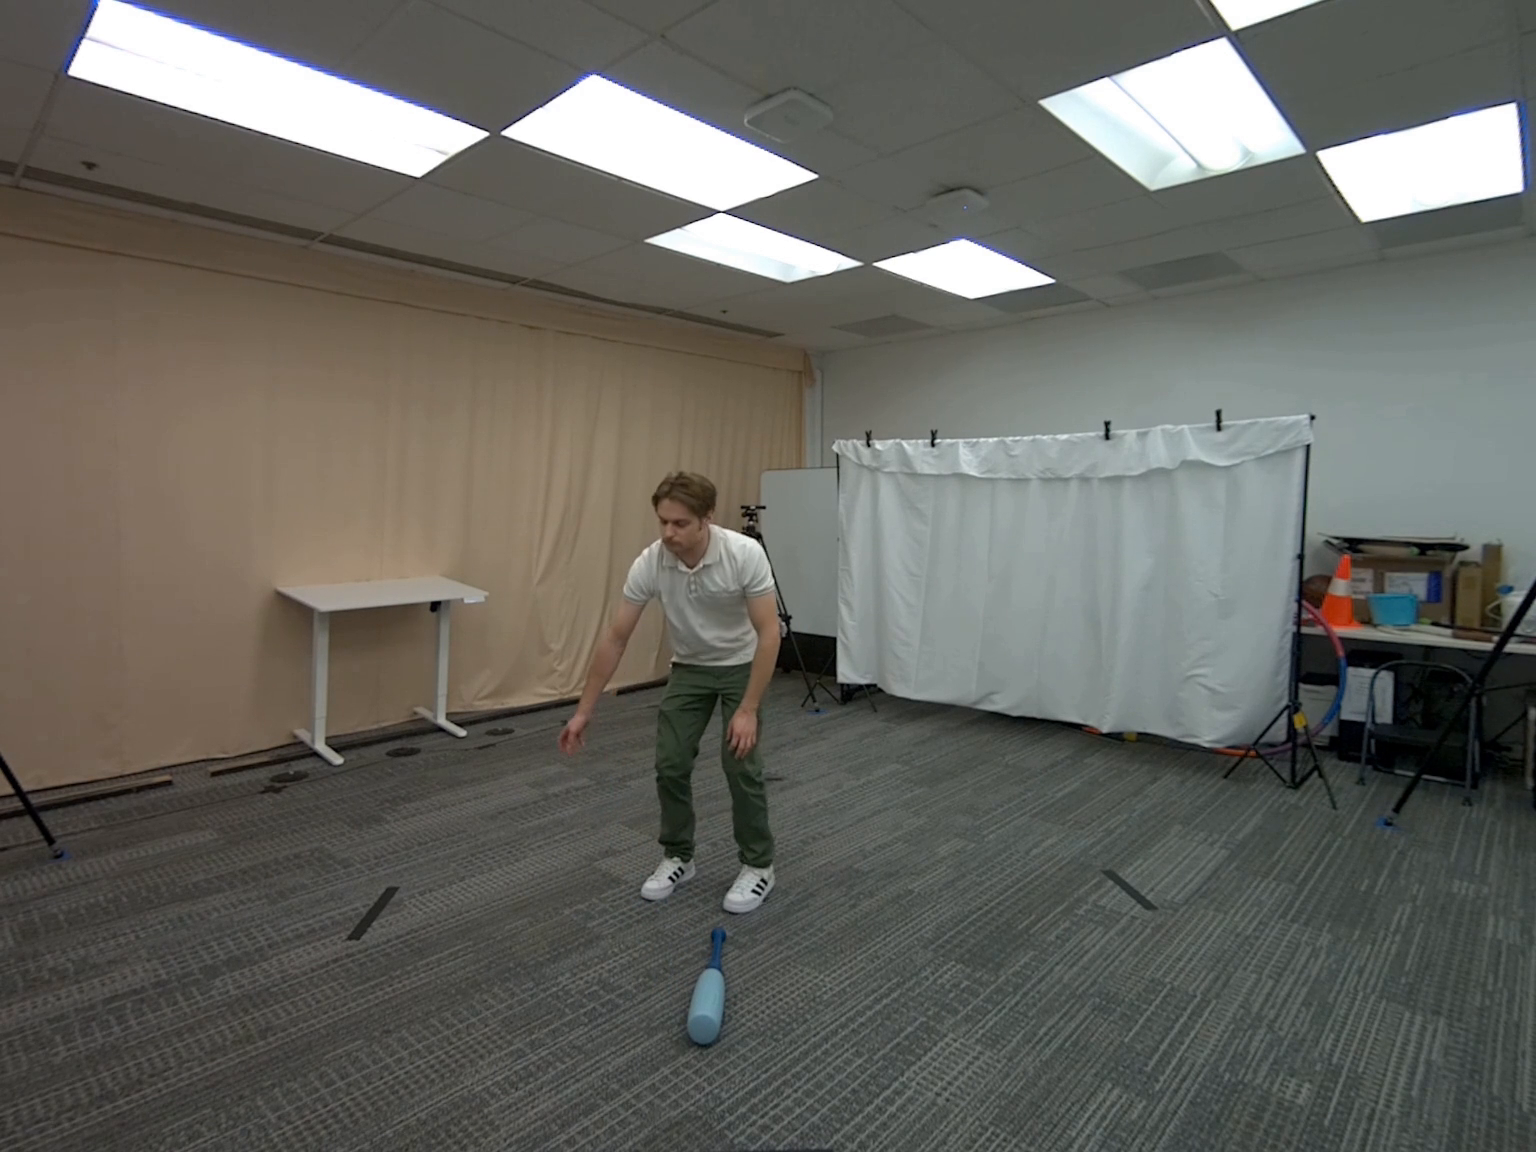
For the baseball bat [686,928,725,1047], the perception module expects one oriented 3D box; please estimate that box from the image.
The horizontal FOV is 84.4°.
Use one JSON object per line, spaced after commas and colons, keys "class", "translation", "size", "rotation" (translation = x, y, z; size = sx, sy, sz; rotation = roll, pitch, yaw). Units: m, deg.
{"class": "baseball bat", "translation": [-0.158, 1.159, 2.419], "size": [0.089, 0.089, 0.541], "rotation": [0, 1, 1]}
